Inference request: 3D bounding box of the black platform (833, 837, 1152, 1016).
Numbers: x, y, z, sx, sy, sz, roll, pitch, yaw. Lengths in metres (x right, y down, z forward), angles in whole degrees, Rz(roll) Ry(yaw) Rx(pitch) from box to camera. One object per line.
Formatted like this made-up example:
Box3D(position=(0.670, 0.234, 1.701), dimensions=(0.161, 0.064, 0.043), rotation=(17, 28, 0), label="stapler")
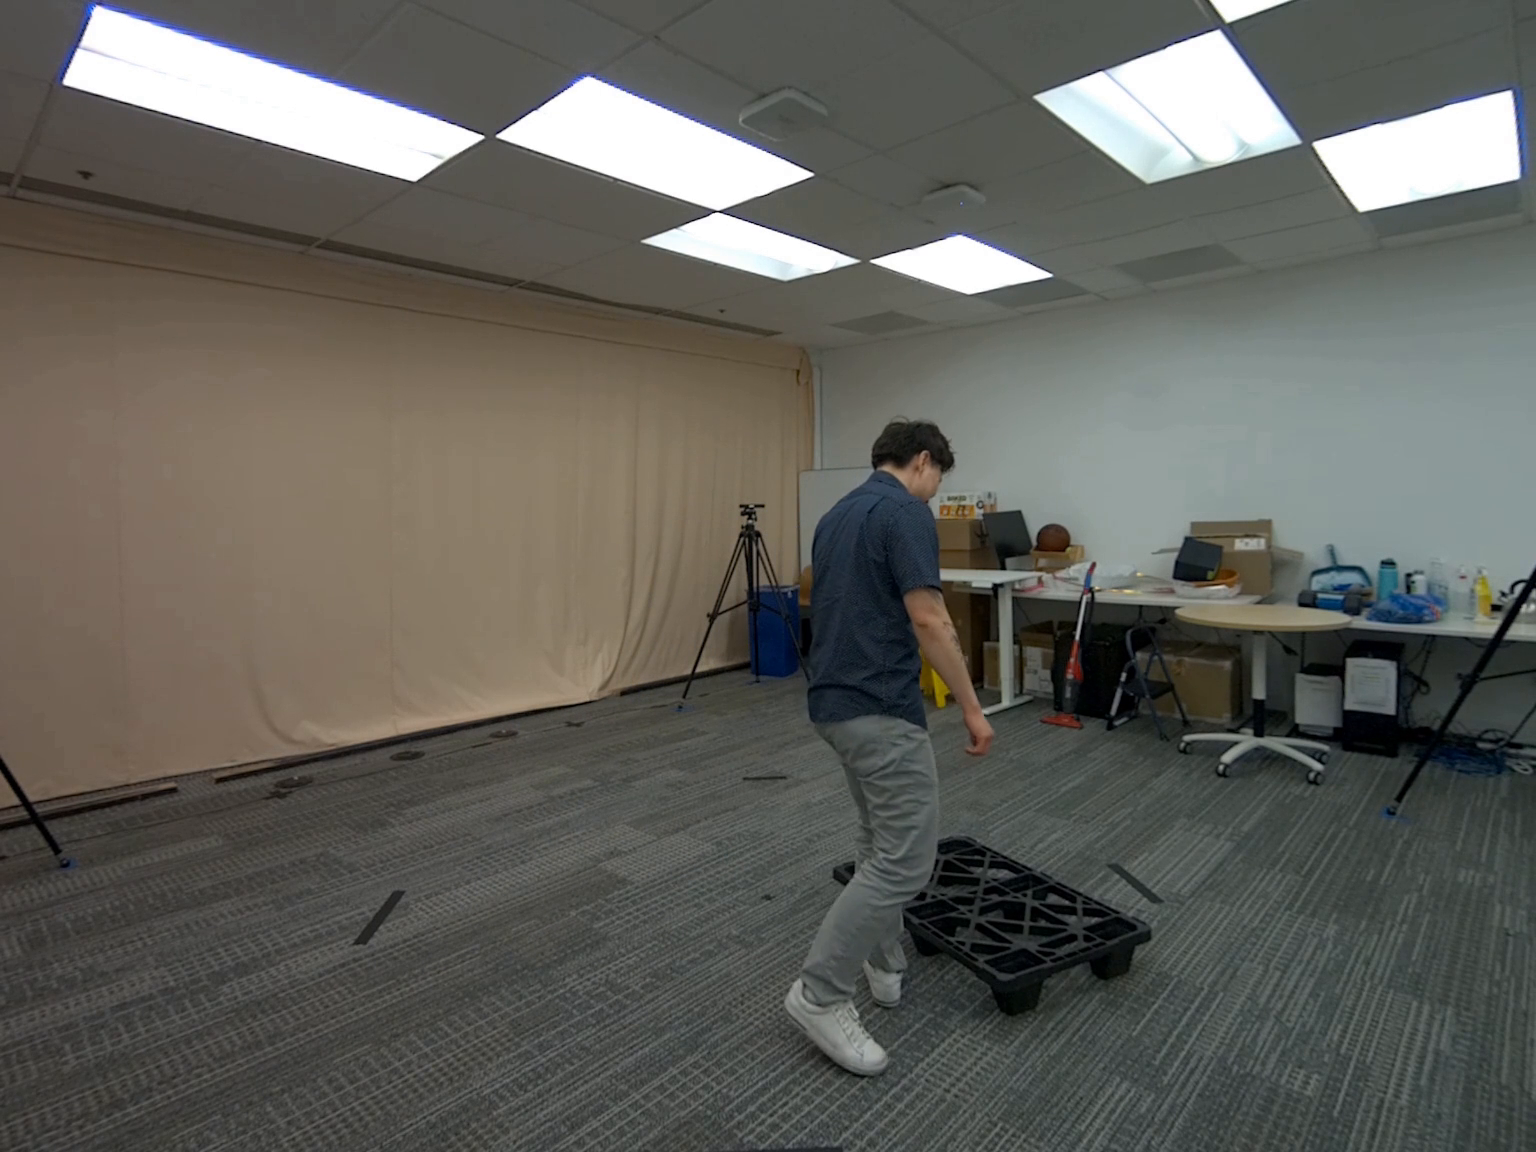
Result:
Box3D(position=(0.684, 1.085, 2.698), dimensions=(0.590, 0.143, 0.828), rotation=(-3, 5, -28), label="black platform")
